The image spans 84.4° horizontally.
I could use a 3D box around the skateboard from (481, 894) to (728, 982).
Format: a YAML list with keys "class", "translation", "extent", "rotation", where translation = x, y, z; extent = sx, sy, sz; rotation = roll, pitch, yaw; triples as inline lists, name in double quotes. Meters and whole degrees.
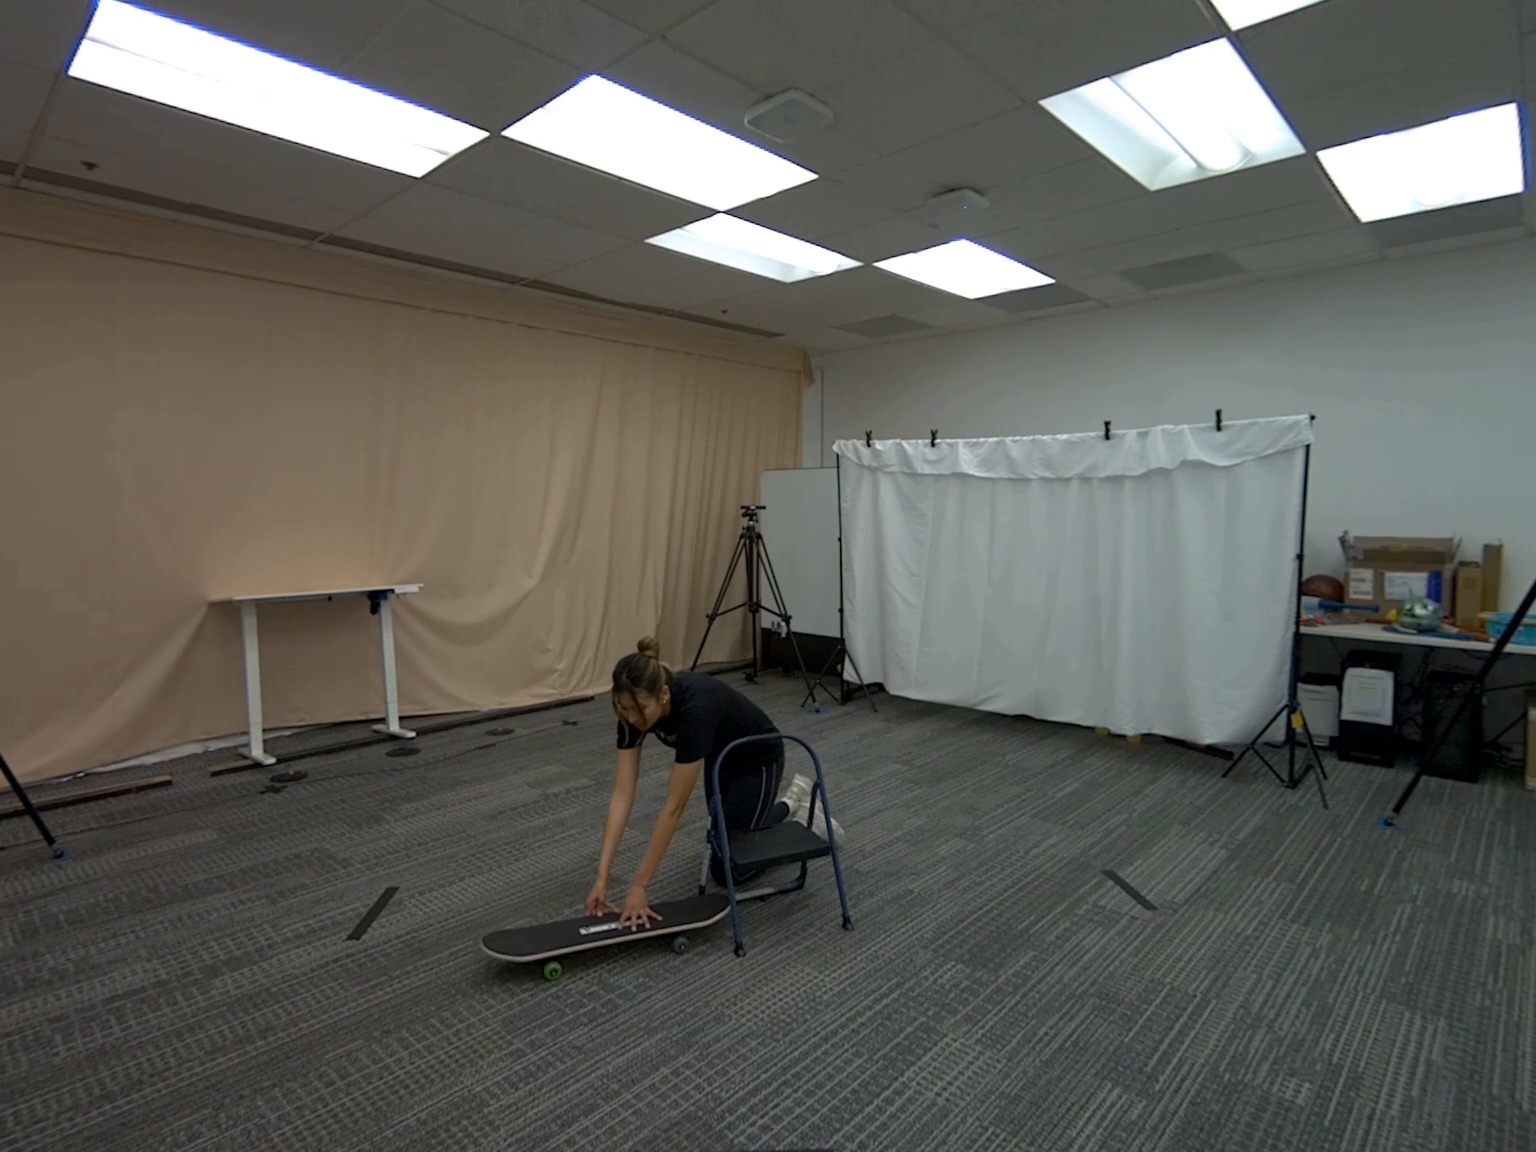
- class: "skateboard"
  translation: [-0.483, 1.126, 2.616]
  extent: [0.770, 0.110, 0.197]
  rotation: [-1, 1, -20]
